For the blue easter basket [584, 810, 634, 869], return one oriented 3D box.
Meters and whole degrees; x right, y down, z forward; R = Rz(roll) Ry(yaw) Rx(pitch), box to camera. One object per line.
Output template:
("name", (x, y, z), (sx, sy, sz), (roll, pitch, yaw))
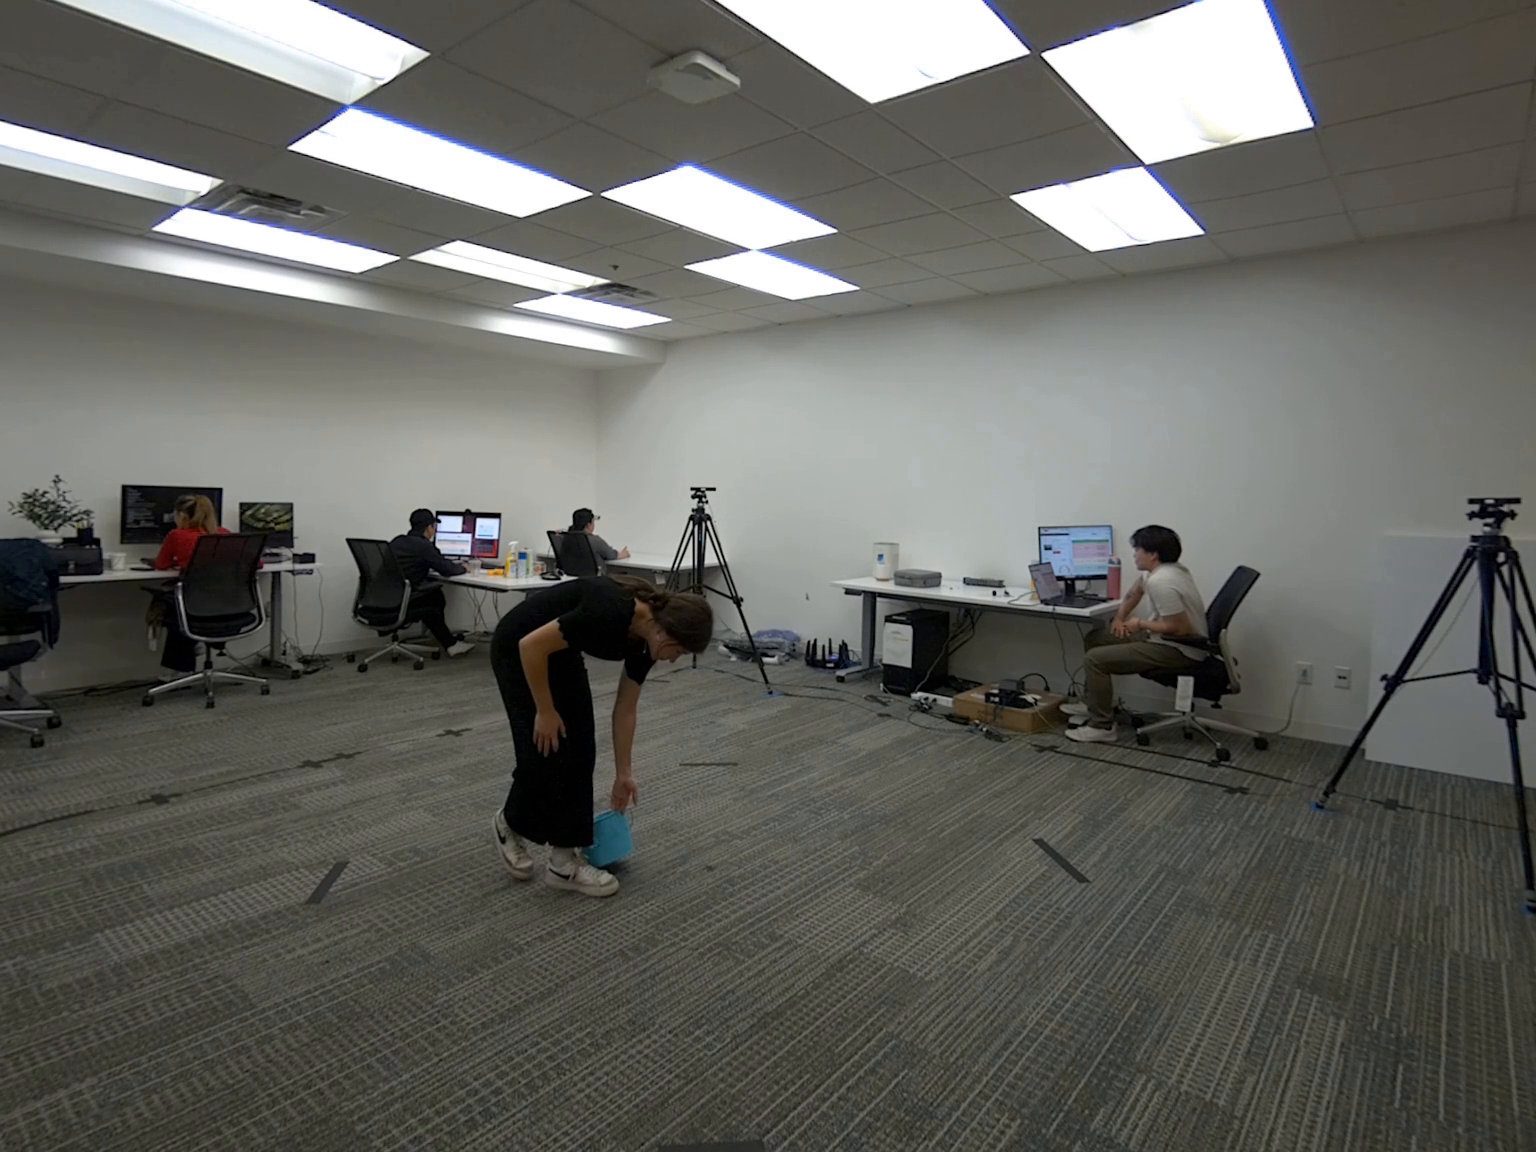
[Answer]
("blue easter basket", (-0.609, 0.953, 3.095), (0.243, 0.158, 0.241), (-20, -7, -5))
